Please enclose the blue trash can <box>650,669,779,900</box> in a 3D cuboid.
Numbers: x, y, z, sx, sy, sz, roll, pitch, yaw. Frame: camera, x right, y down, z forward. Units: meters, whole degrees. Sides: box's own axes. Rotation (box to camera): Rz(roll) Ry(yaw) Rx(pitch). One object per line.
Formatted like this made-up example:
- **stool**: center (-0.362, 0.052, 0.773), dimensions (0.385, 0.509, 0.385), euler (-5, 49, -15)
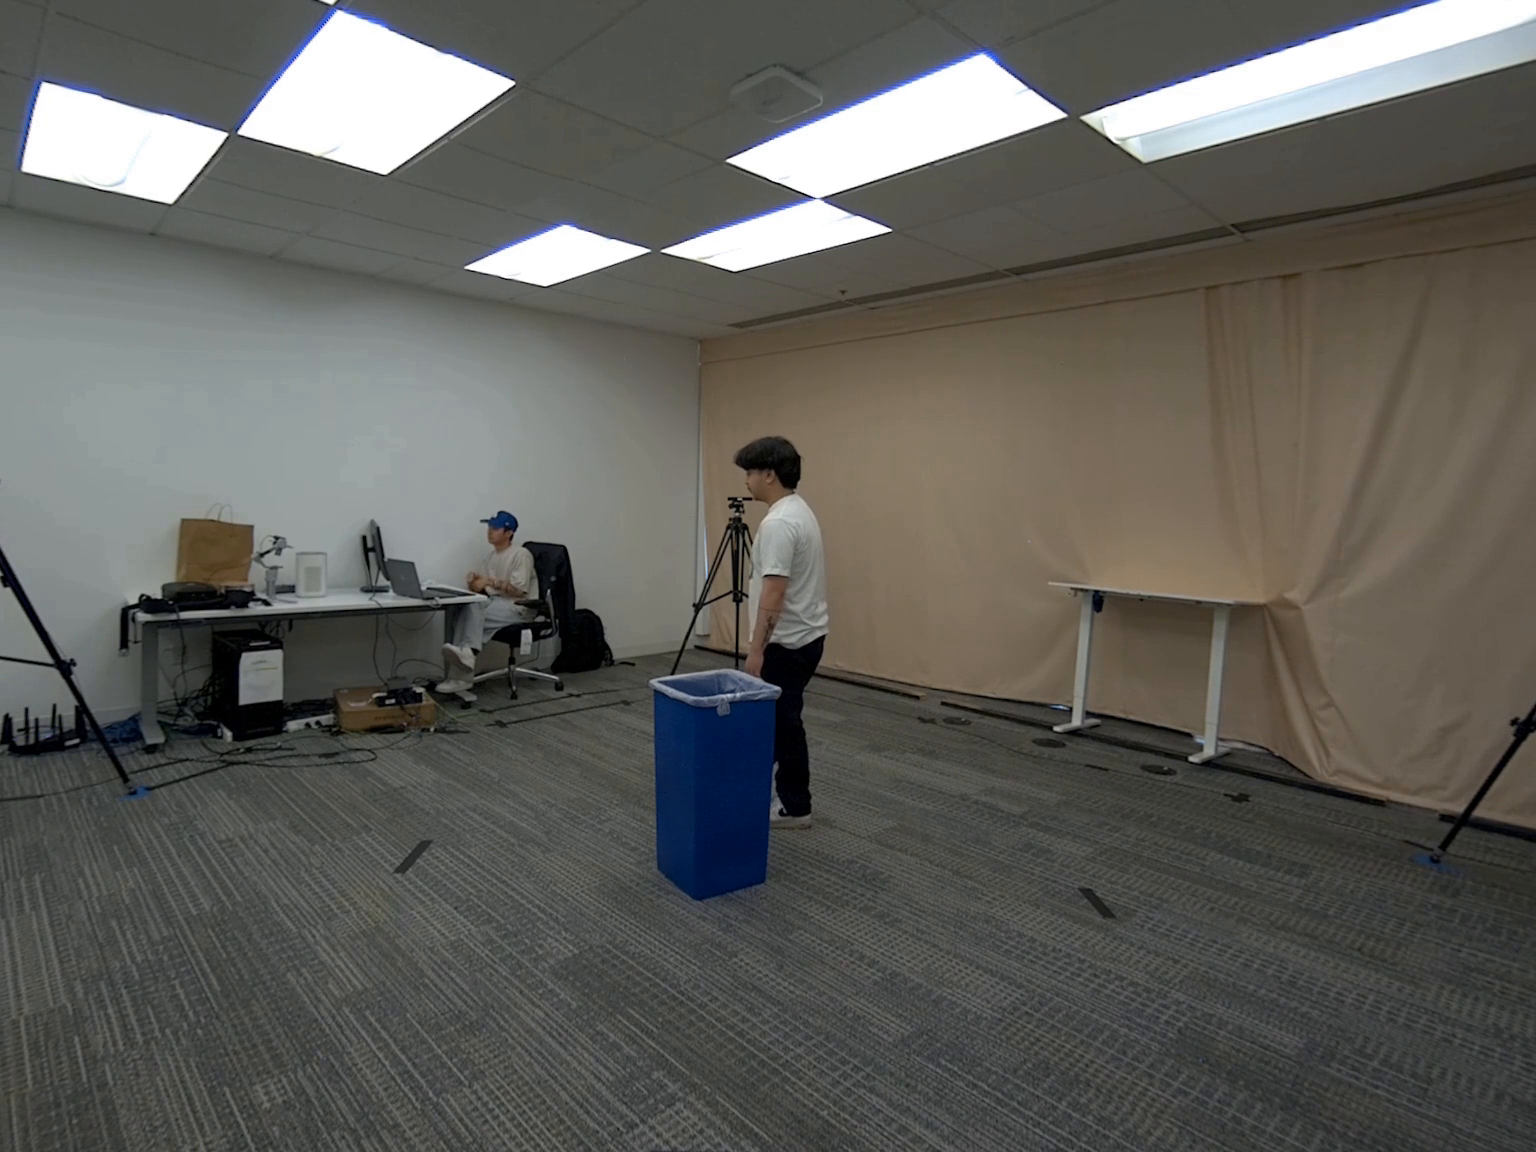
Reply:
- **blue trash can**: center (-0.217, 0.749, 3.095), dimensions (0.370, 0.712, 0.383), euler (-1, 4, -34)
